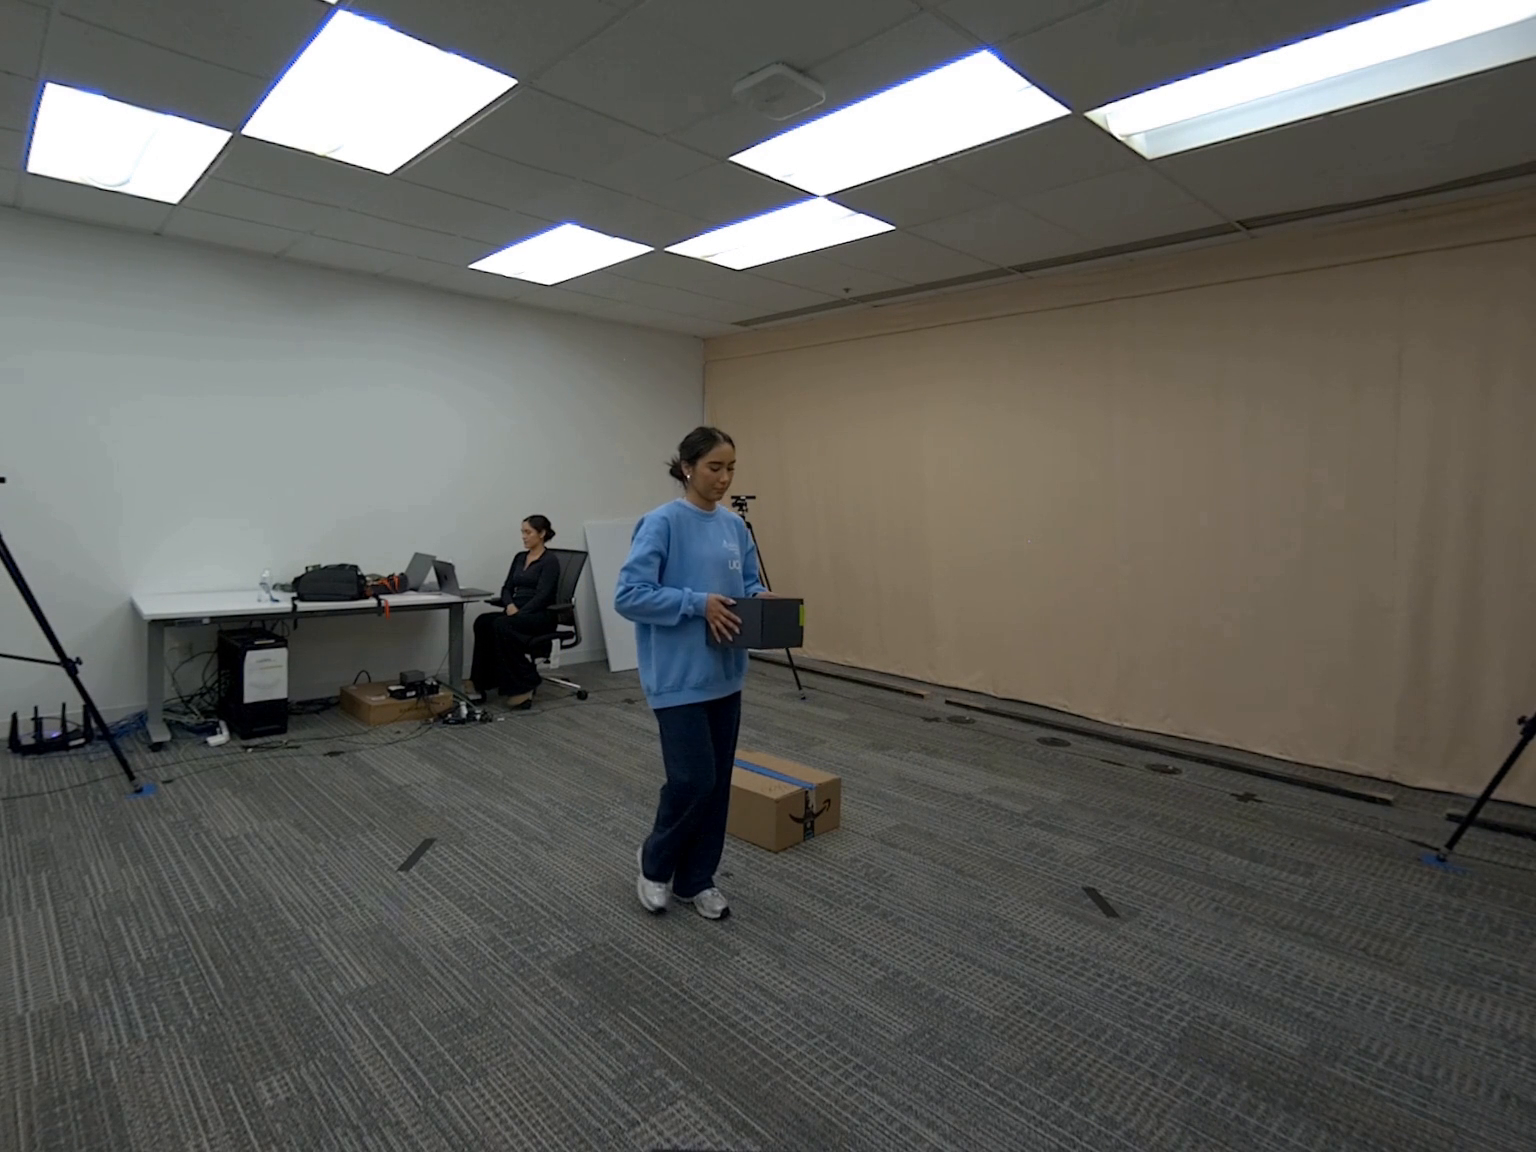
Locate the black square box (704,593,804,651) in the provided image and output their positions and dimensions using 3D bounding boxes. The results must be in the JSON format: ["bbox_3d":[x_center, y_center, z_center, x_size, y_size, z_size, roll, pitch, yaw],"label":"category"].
[{"bbox_3d":[-0.051,0.150,2.645,0.233,0.156,0.211,0,-2,38],"label":"black square box"}]
